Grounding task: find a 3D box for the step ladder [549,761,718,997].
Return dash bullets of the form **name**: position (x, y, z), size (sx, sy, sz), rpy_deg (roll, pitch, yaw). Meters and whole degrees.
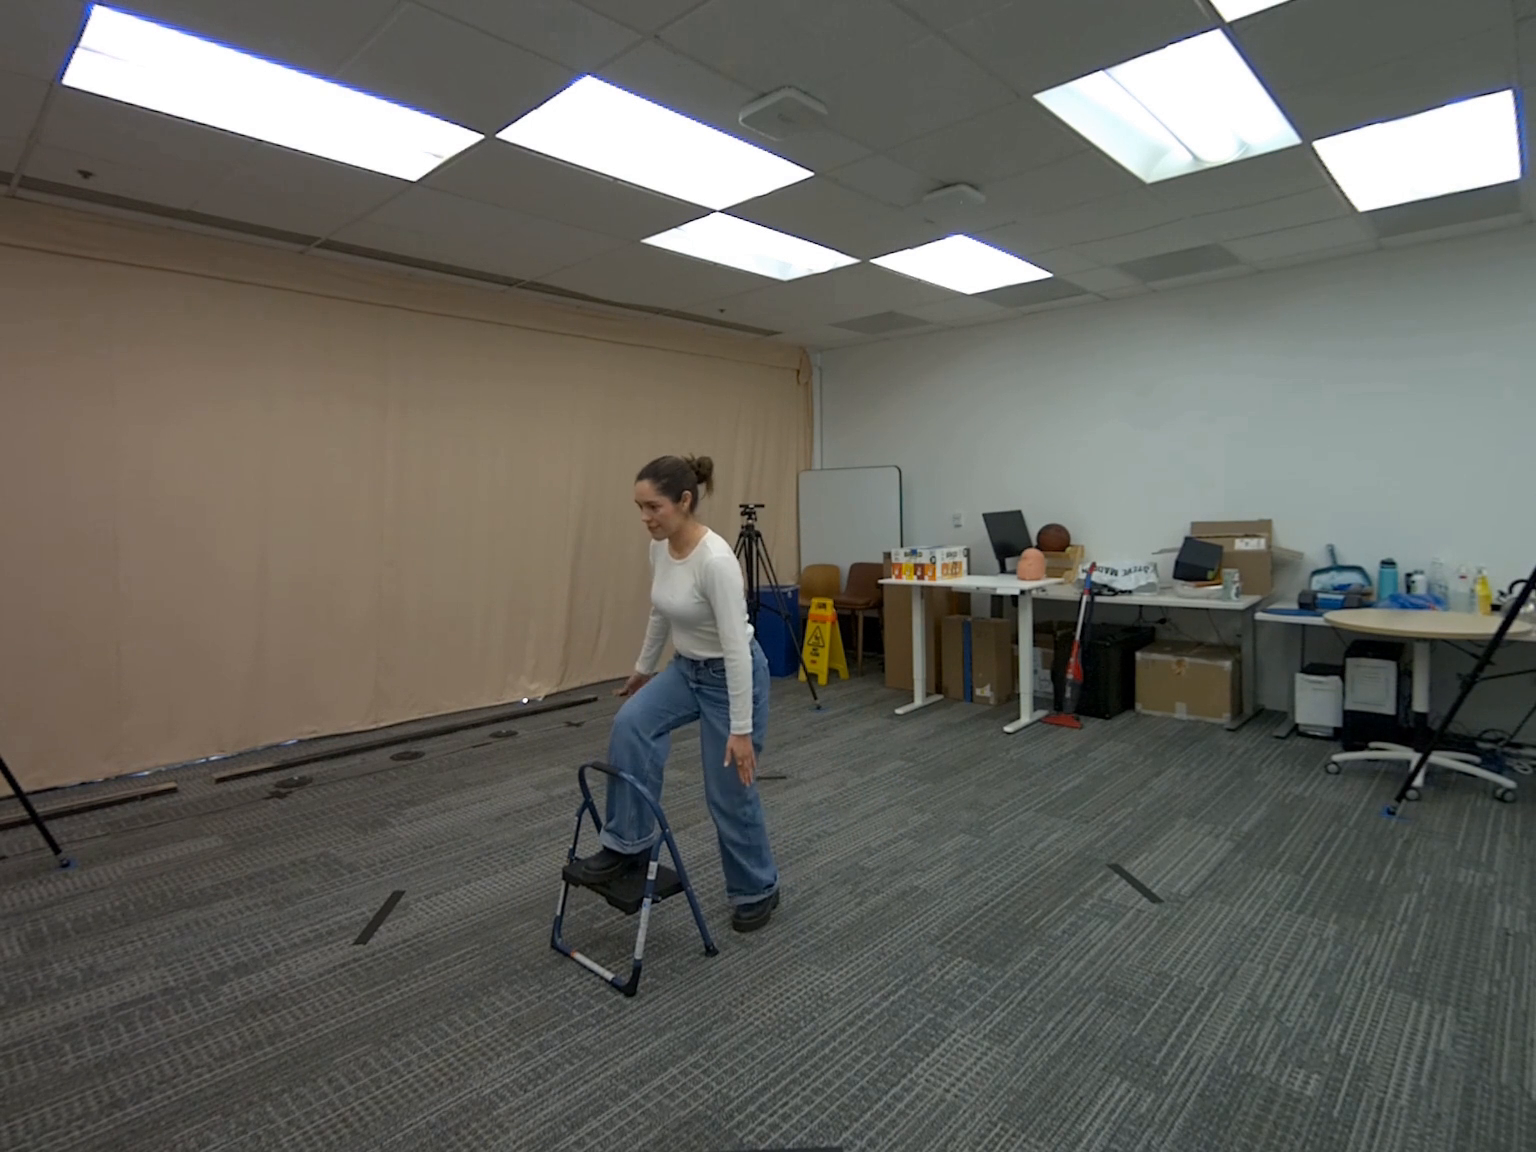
- **step ladder**: position (-0.429, 0.879, 2.632), size (0.445, 0.605, 0.339), rpy_deg (1, 4, 43)
